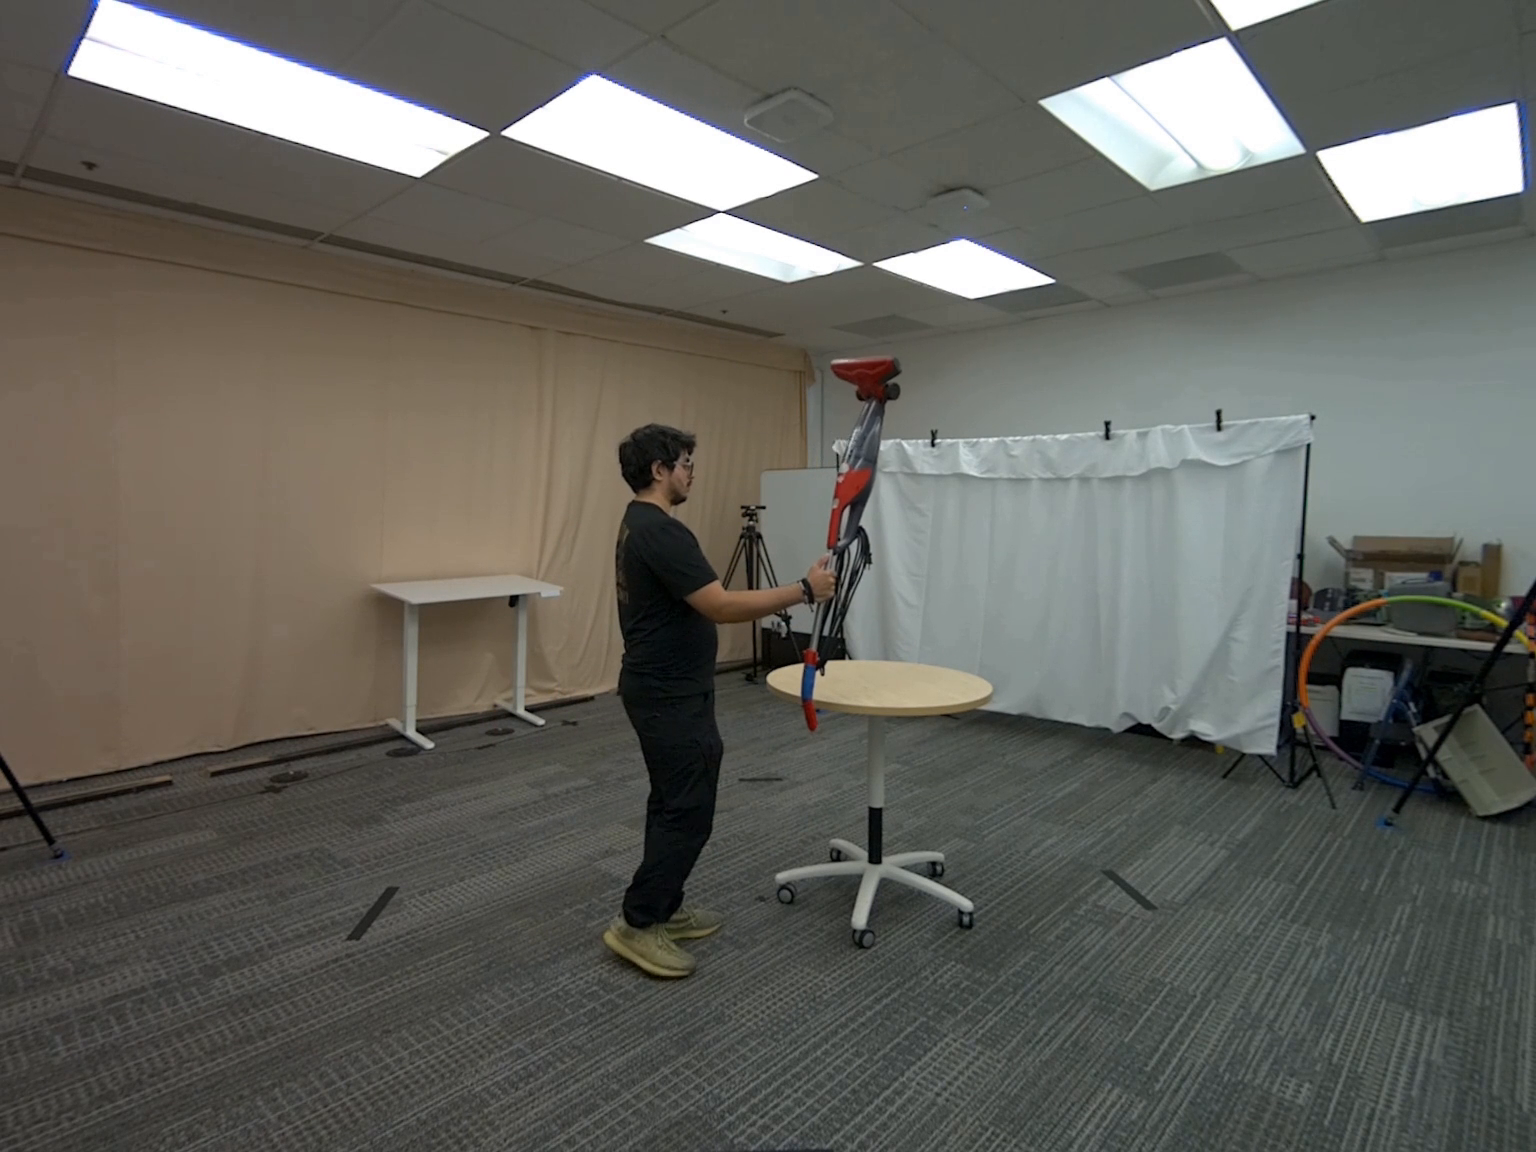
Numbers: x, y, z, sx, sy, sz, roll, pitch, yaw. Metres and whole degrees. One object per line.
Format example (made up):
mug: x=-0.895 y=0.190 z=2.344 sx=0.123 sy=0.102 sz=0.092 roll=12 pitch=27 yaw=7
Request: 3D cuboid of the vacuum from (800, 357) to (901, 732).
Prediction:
vacuum: x=0.226 y=-0.076 z=2.469 sx=0.139 sy=1.048 sz=0.261 roll=9 pitch=2 yaw=-38
